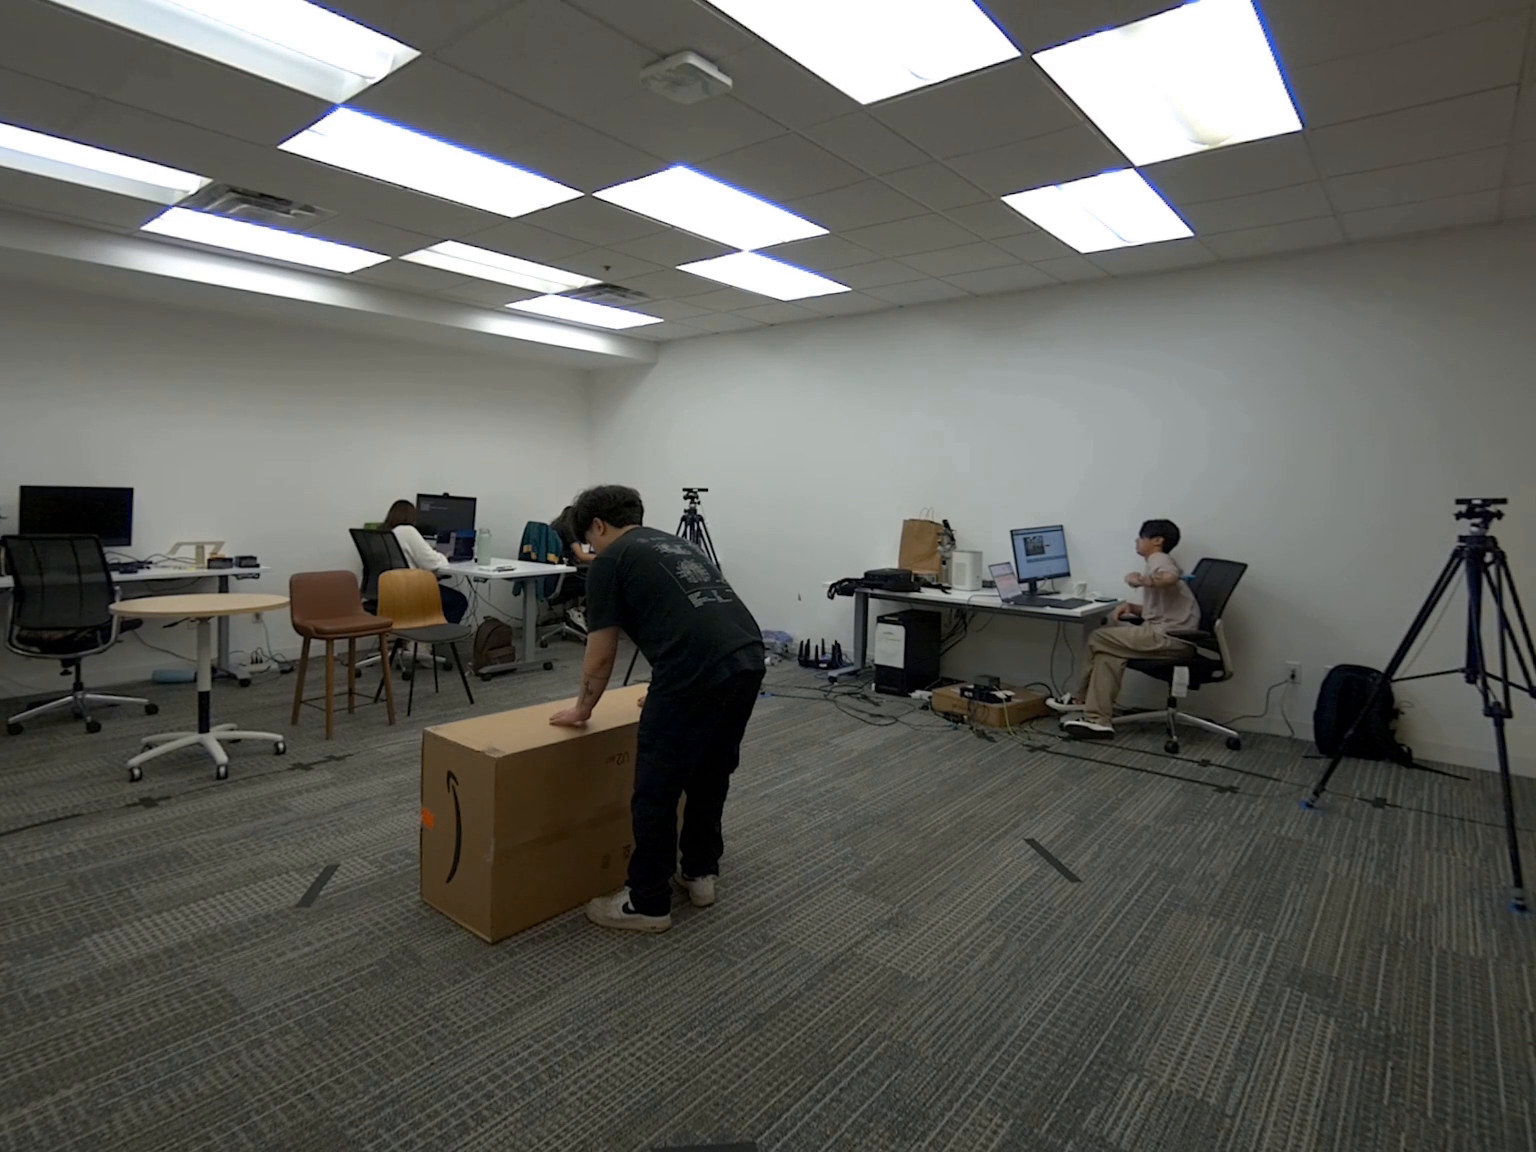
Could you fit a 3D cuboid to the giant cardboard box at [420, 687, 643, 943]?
[{"bbox_3d":[-0.690,0.780,3.072,0.461,0.582,0.996,3,4,39],"label":"giant cardboard box"}]
